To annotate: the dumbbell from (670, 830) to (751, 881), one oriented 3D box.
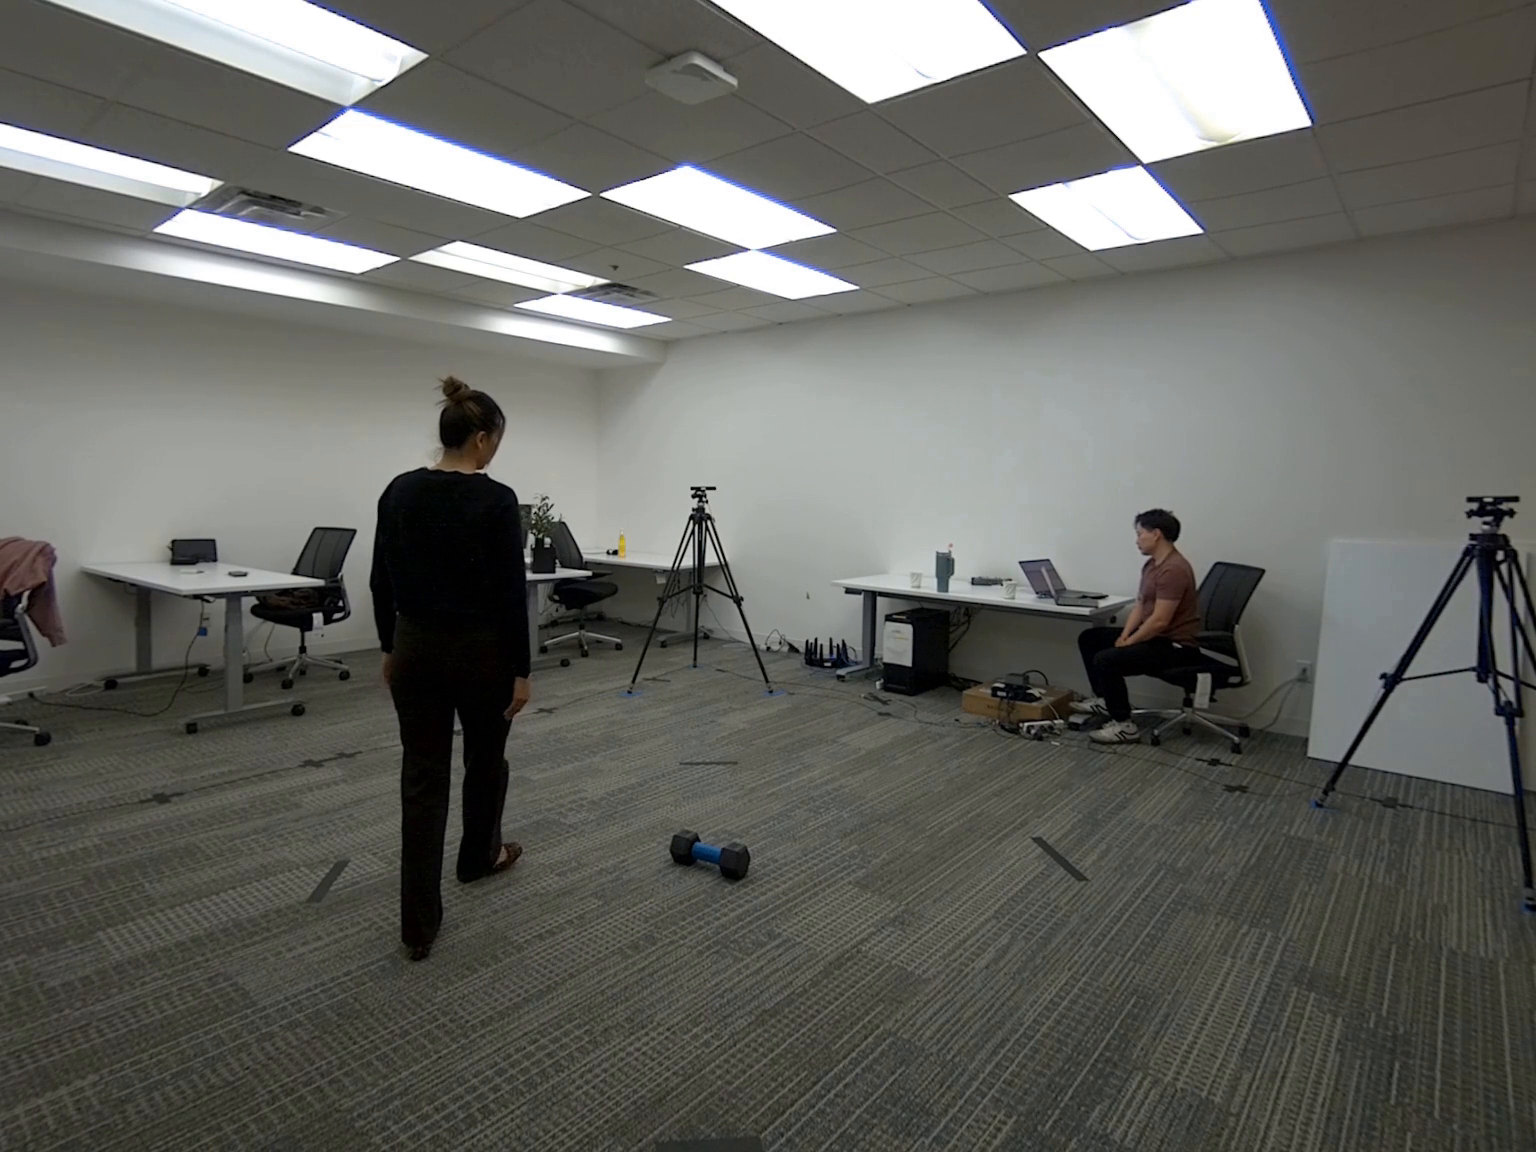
[{"bbox_3d":[-0.221,1.010,3.108,0.302,0.124,0.104,4,-24,31],"label":"dumbbell"}]
